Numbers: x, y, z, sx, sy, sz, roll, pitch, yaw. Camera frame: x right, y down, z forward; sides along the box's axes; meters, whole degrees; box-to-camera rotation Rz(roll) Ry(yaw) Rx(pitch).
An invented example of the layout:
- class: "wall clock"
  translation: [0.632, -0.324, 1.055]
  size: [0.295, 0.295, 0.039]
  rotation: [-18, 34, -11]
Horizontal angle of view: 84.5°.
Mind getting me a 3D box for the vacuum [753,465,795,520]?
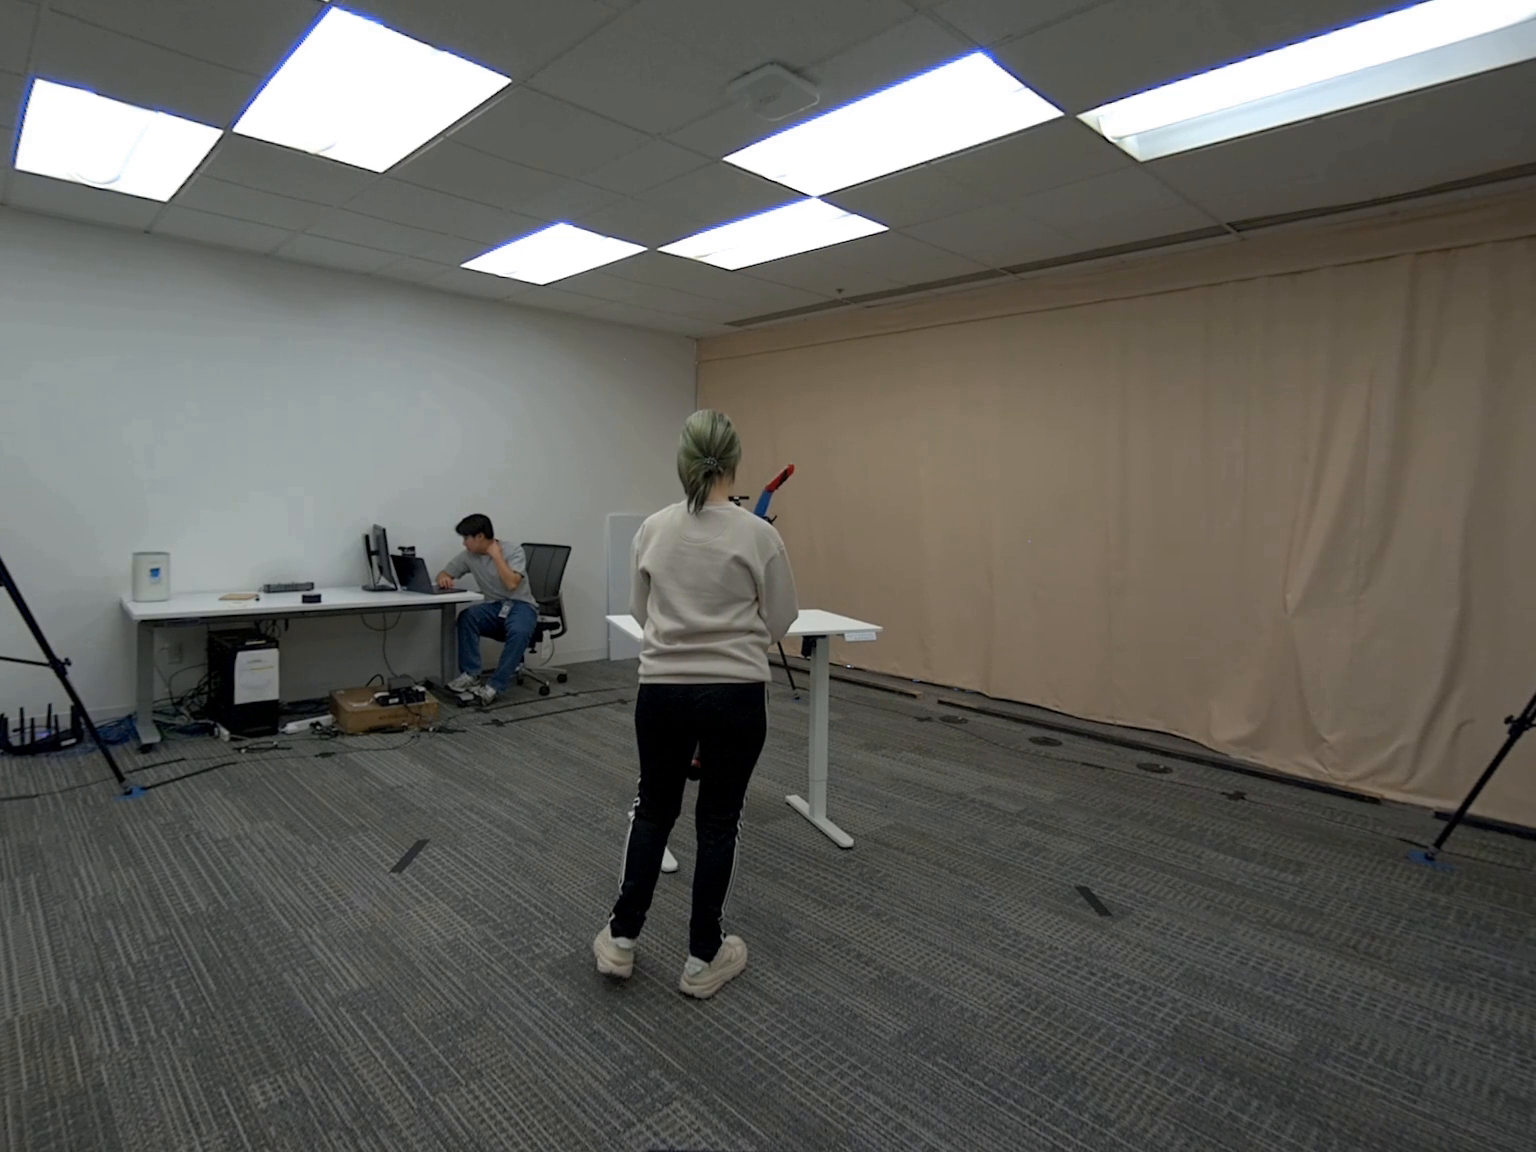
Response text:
- class: "vacuum"
  translation: [-0.112, 0.162, 2.654]
  size: [0.145, 1.045, 0.251]
  rotation: [19, 9, 7]
